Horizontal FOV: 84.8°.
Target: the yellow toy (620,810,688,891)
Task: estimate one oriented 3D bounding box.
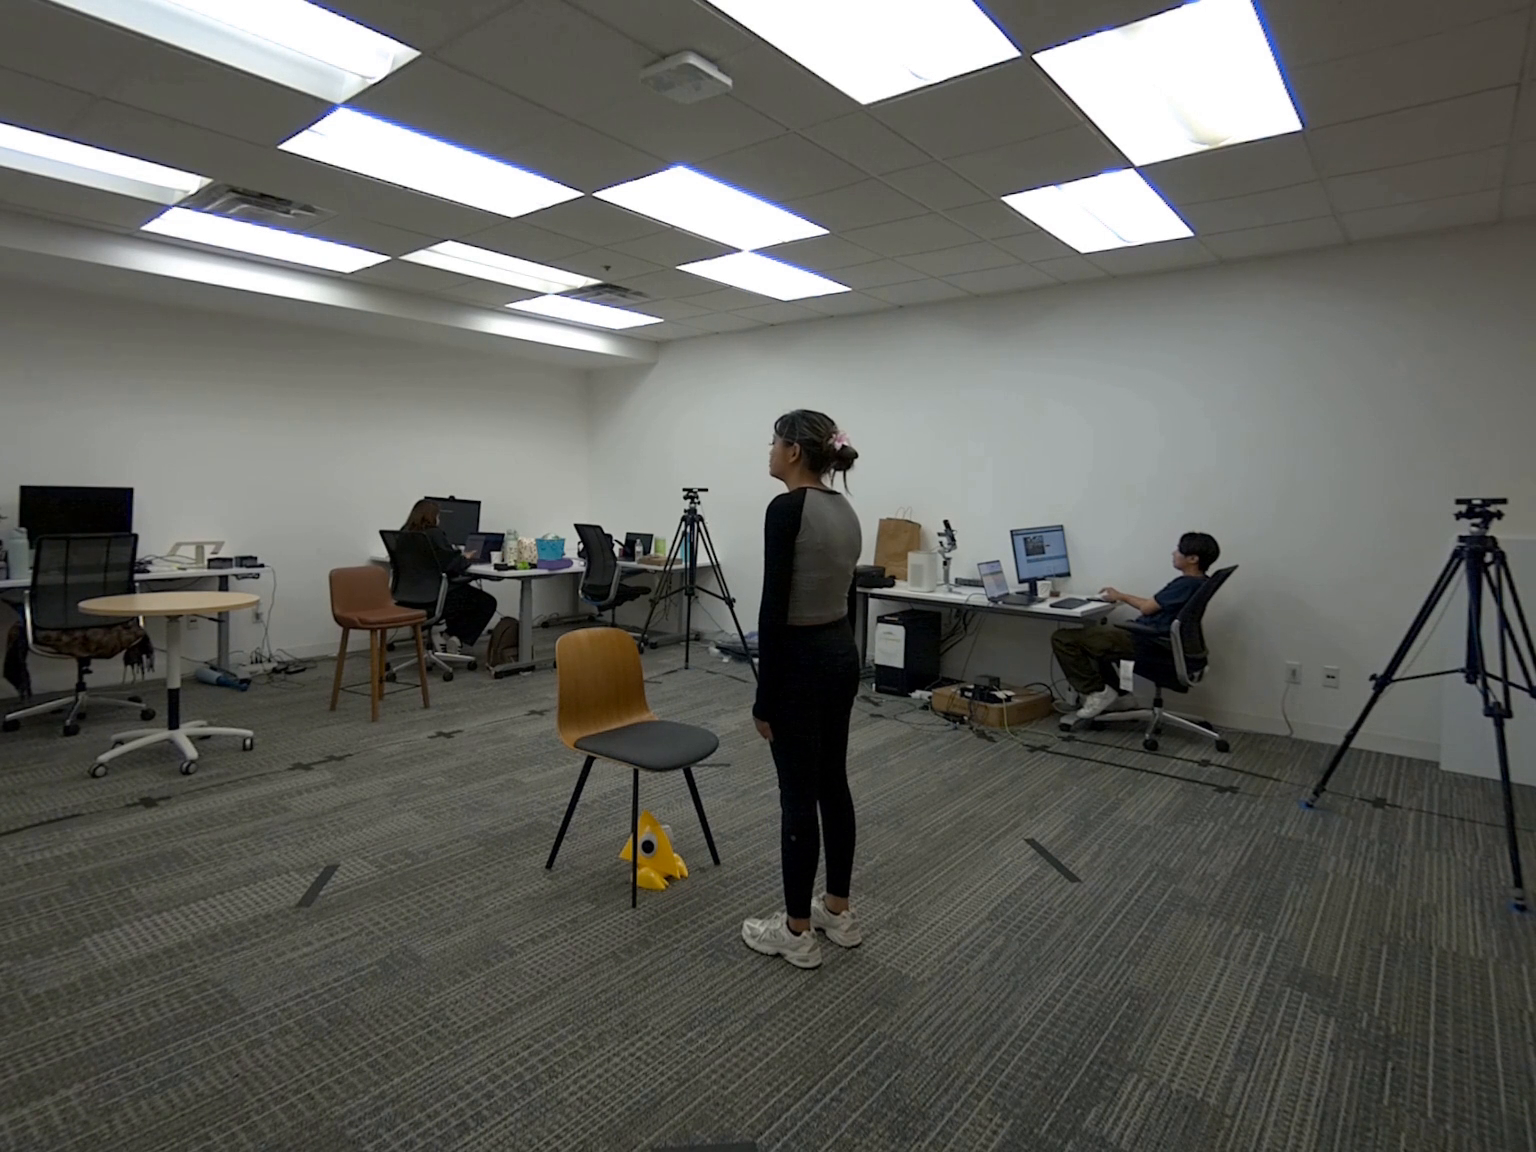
[{"bbox_3d":[-0.404,0.962,3.046,0.199,0.230,0.199,3,3,36],"label":"yellow toy"}]
